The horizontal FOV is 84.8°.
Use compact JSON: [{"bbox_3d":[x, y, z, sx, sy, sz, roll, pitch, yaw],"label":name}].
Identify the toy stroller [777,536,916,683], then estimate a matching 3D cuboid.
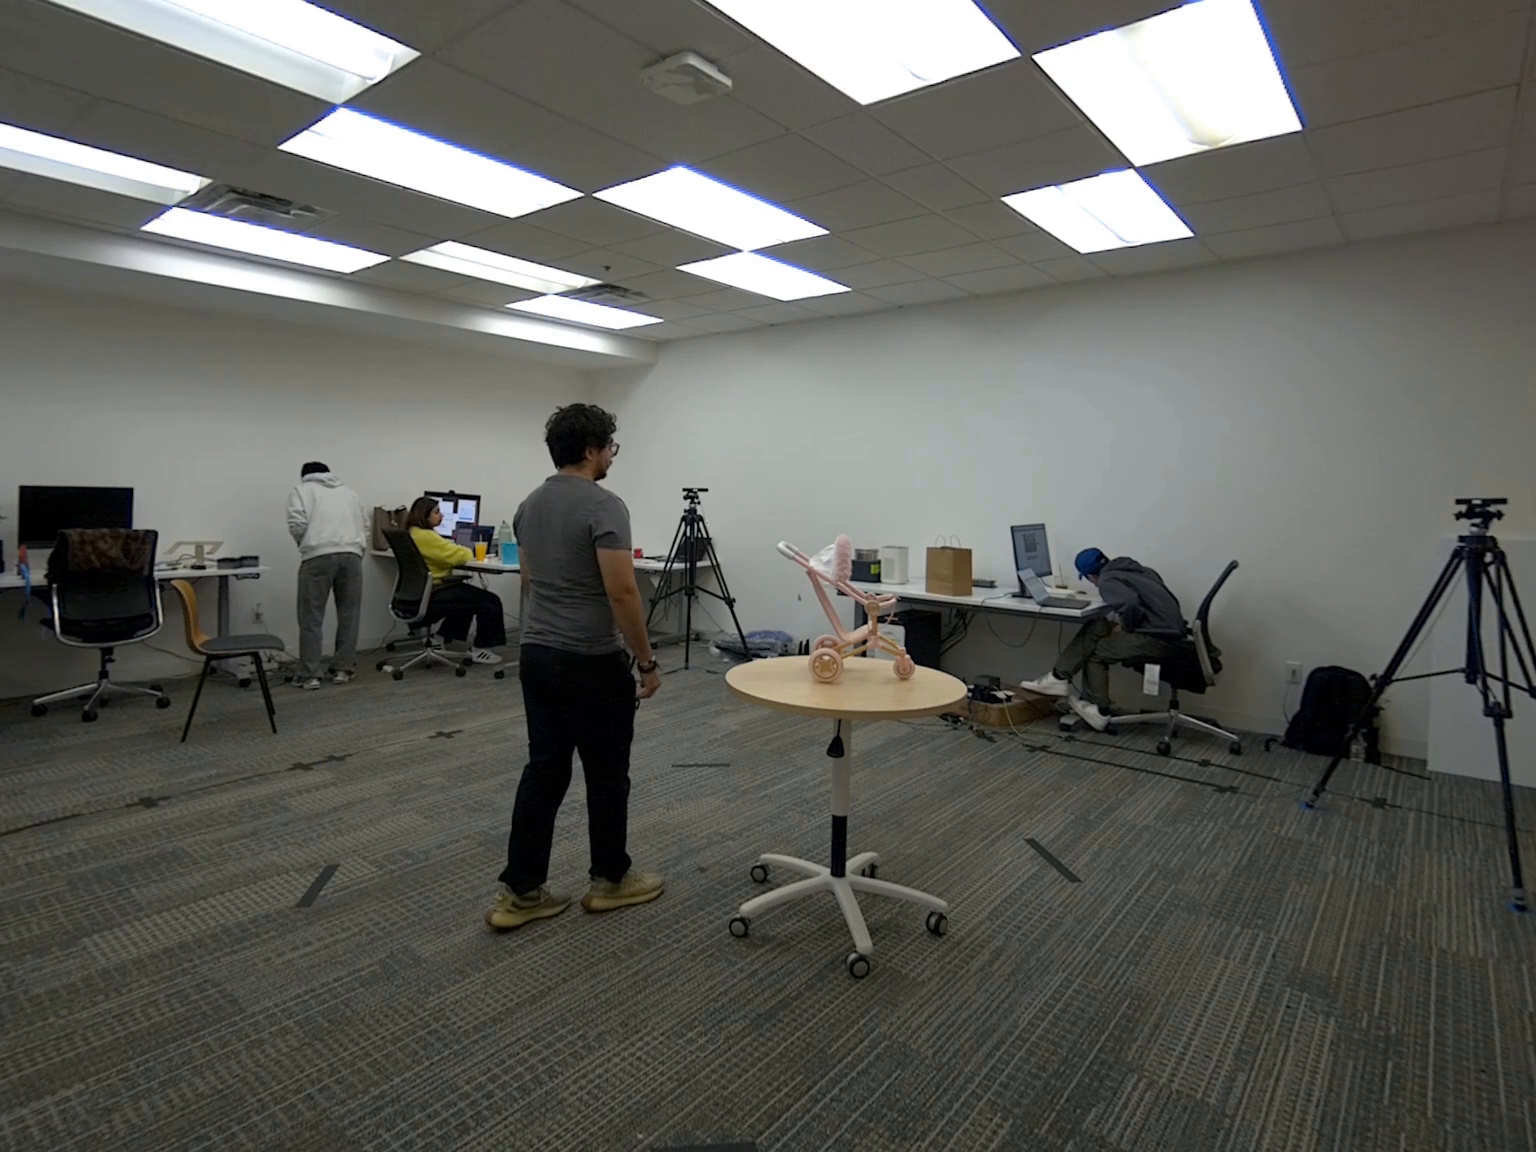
[{"bbox_3d":[0.259,0.108,2.786,0.345,0.535,0.279,-14,0,12],"label":"toy stroller"}]
